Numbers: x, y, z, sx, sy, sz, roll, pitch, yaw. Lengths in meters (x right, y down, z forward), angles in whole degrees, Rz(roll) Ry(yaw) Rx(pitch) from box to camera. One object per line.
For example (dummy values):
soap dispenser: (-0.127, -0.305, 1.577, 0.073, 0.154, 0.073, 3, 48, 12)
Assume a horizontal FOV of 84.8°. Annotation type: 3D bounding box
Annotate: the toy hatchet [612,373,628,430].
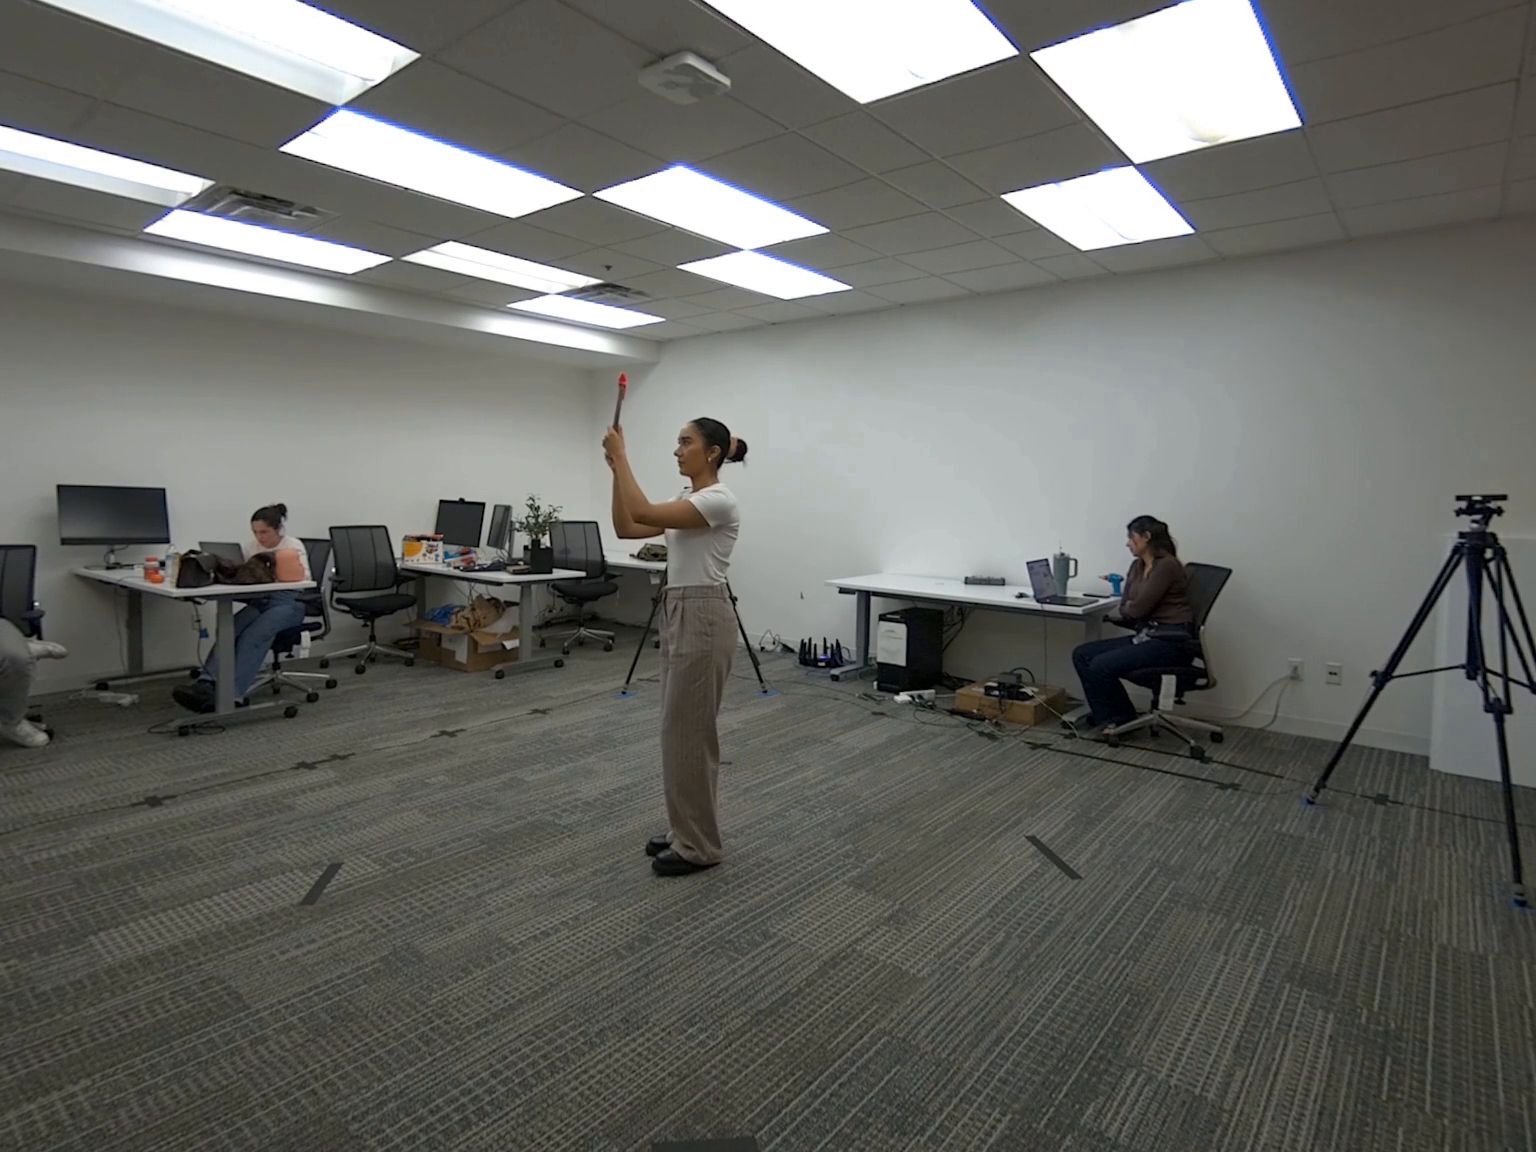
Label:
toy hatchet: (-0.560, -0.617, 3.122, 0.029, 0.270, 0.132, 7, 0, -8)
